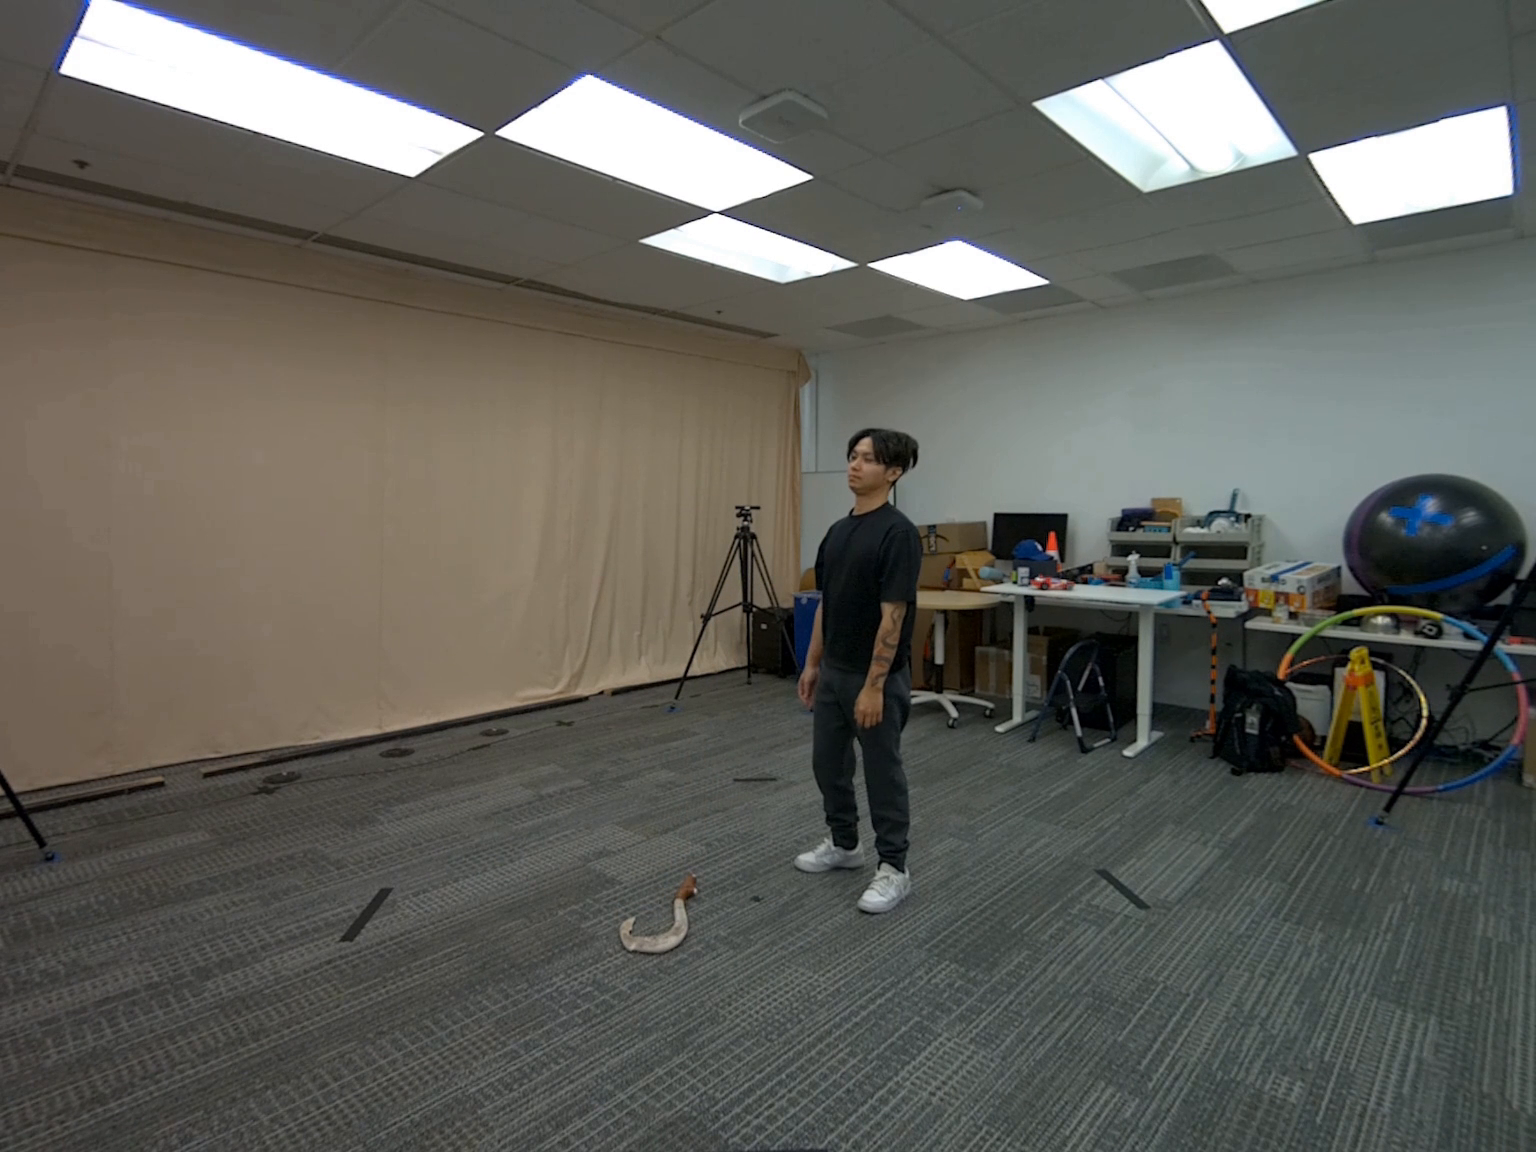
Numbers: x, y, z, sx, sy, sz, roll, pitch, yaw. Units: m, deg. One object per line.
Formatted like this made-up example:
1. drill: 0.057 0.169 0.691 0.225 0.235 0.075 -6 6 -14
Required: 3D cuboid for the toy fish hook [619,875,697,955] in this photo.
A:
1. toy fish hook: -0.359 1.133 2.857 0.227 0.048 0.503 2 5 7
